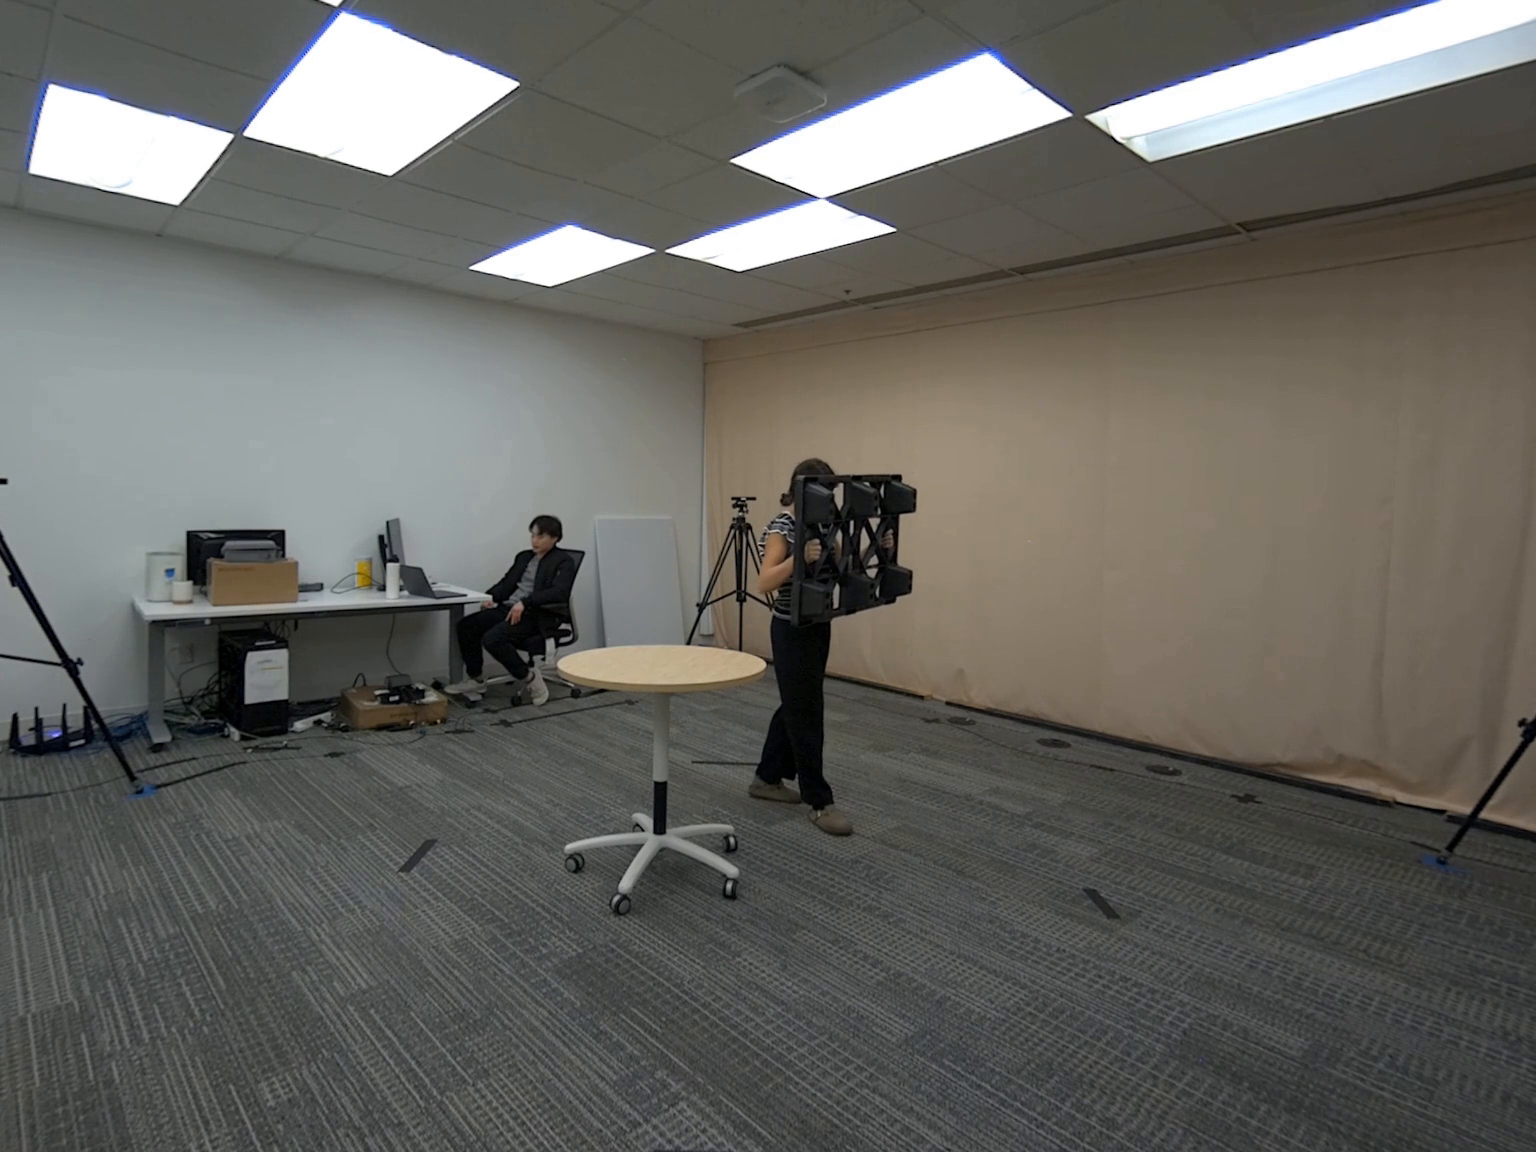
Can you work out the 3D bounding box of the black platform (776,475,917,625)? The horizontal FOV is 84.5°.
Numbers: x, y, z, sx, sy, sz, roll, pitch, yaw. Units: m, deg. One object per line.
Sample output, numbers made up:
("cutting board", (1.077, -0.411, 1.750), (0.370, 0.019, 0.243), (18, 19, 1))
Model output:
("black platform", (0.374, -0.127, 3.561), (0.147, 0.602, 0.789), (8, 10, 37))
